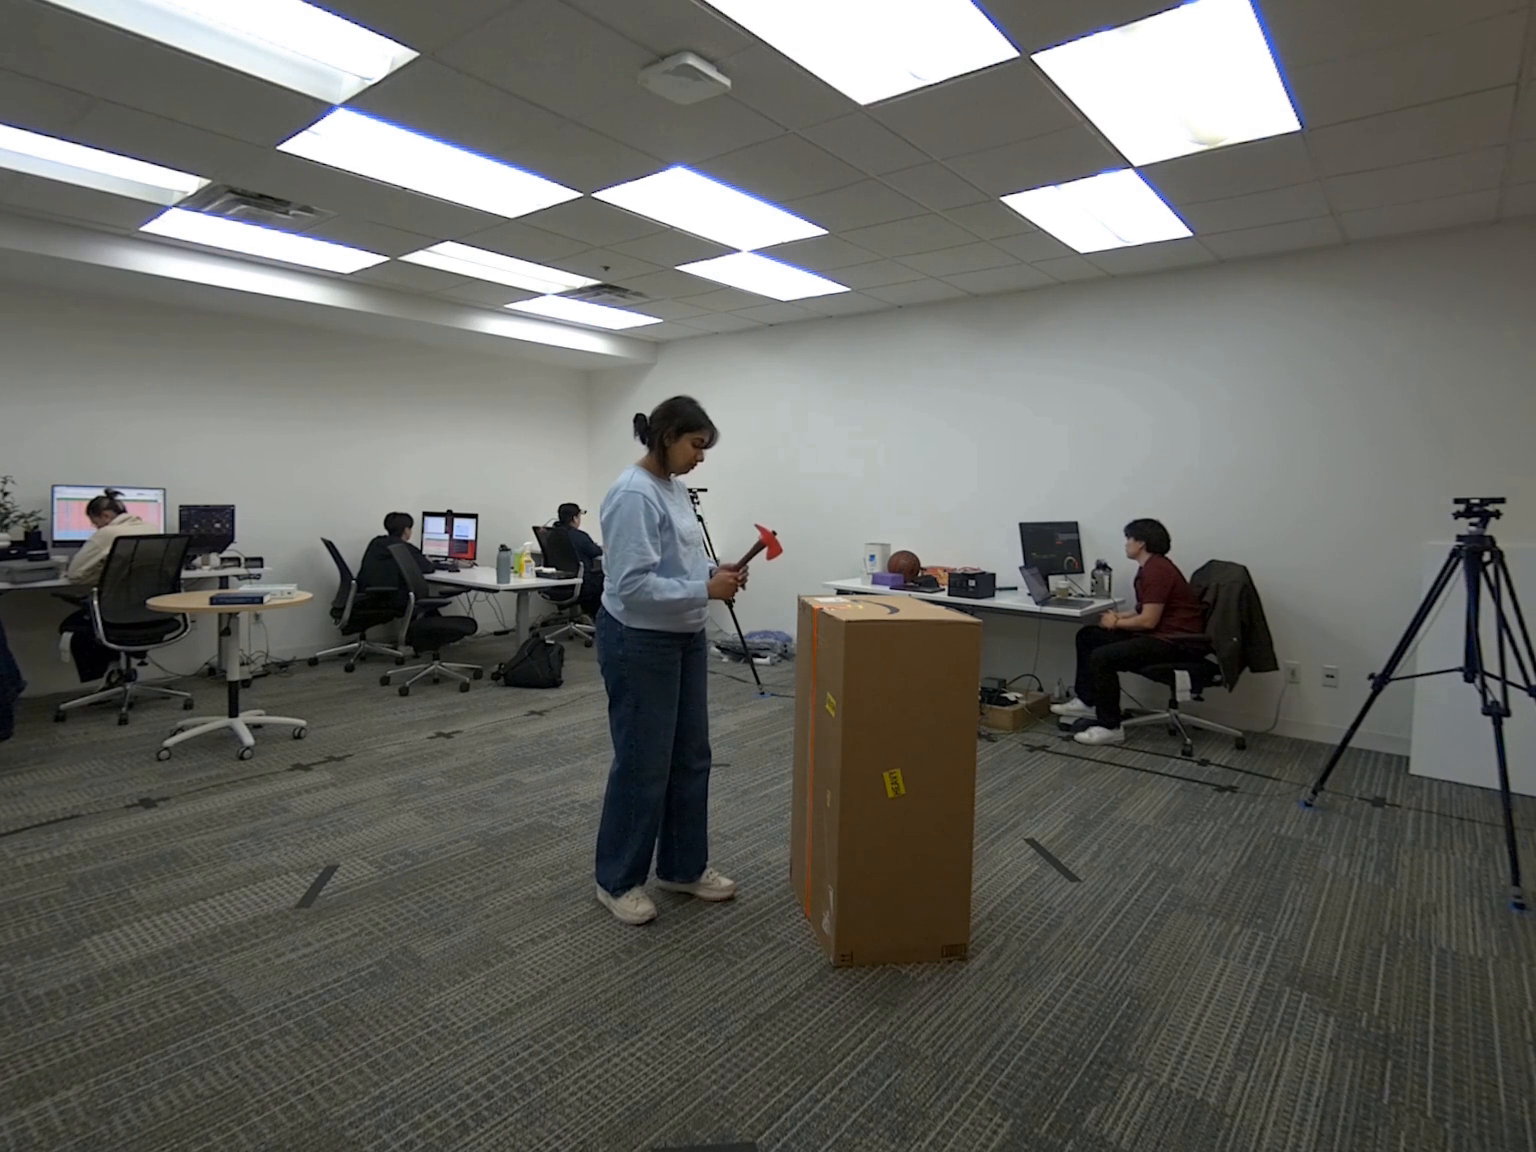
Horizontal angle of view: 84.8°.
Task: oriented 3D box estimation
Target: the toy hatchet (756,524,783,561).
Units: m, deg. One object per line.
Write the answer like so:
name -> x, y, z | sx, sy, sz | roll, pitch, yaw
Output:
toy hatchet -> -0.087, -0.034, 2.706 | 0.128, 0.269, 0.030 | 28, 8, -19
